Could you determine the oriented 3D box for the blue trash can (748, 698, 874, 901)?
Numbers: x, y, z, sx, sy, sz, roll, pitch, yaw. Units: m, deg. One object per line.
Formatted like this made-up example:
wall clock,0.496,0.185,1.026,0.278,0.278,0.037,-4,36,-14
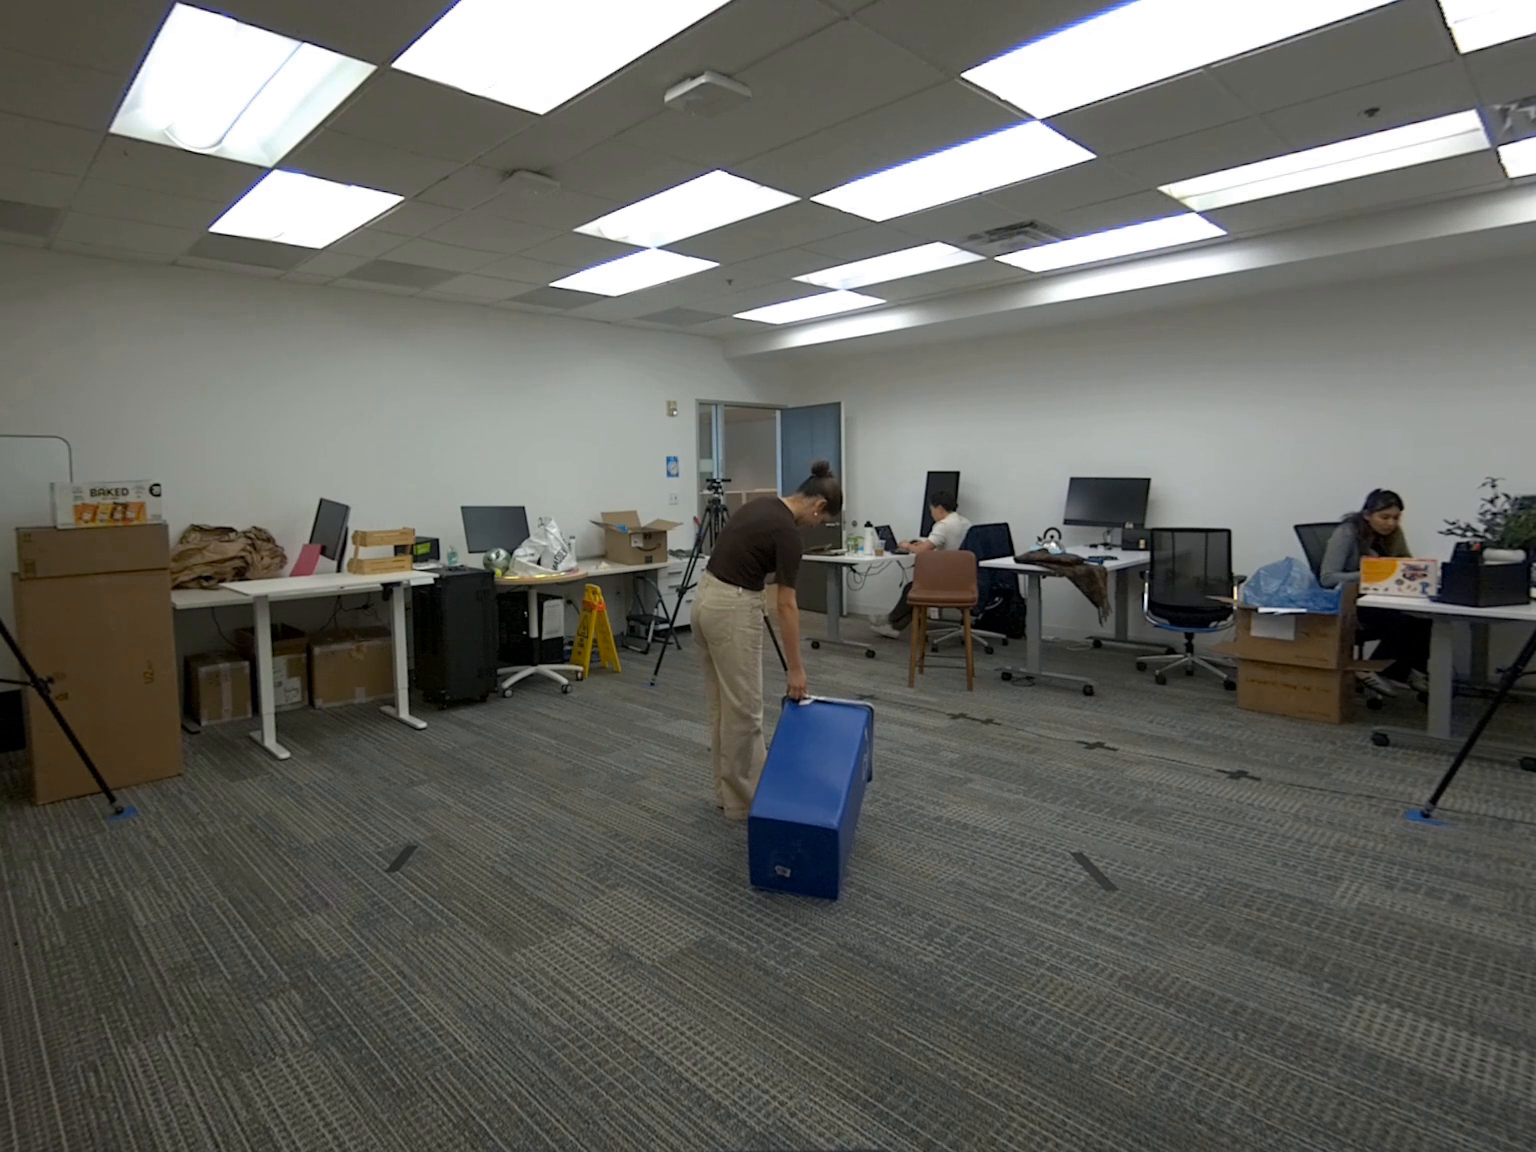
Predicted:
blue trash can,0.170,0.789,3.121,0.383,0.366,0.718,3,24,13
